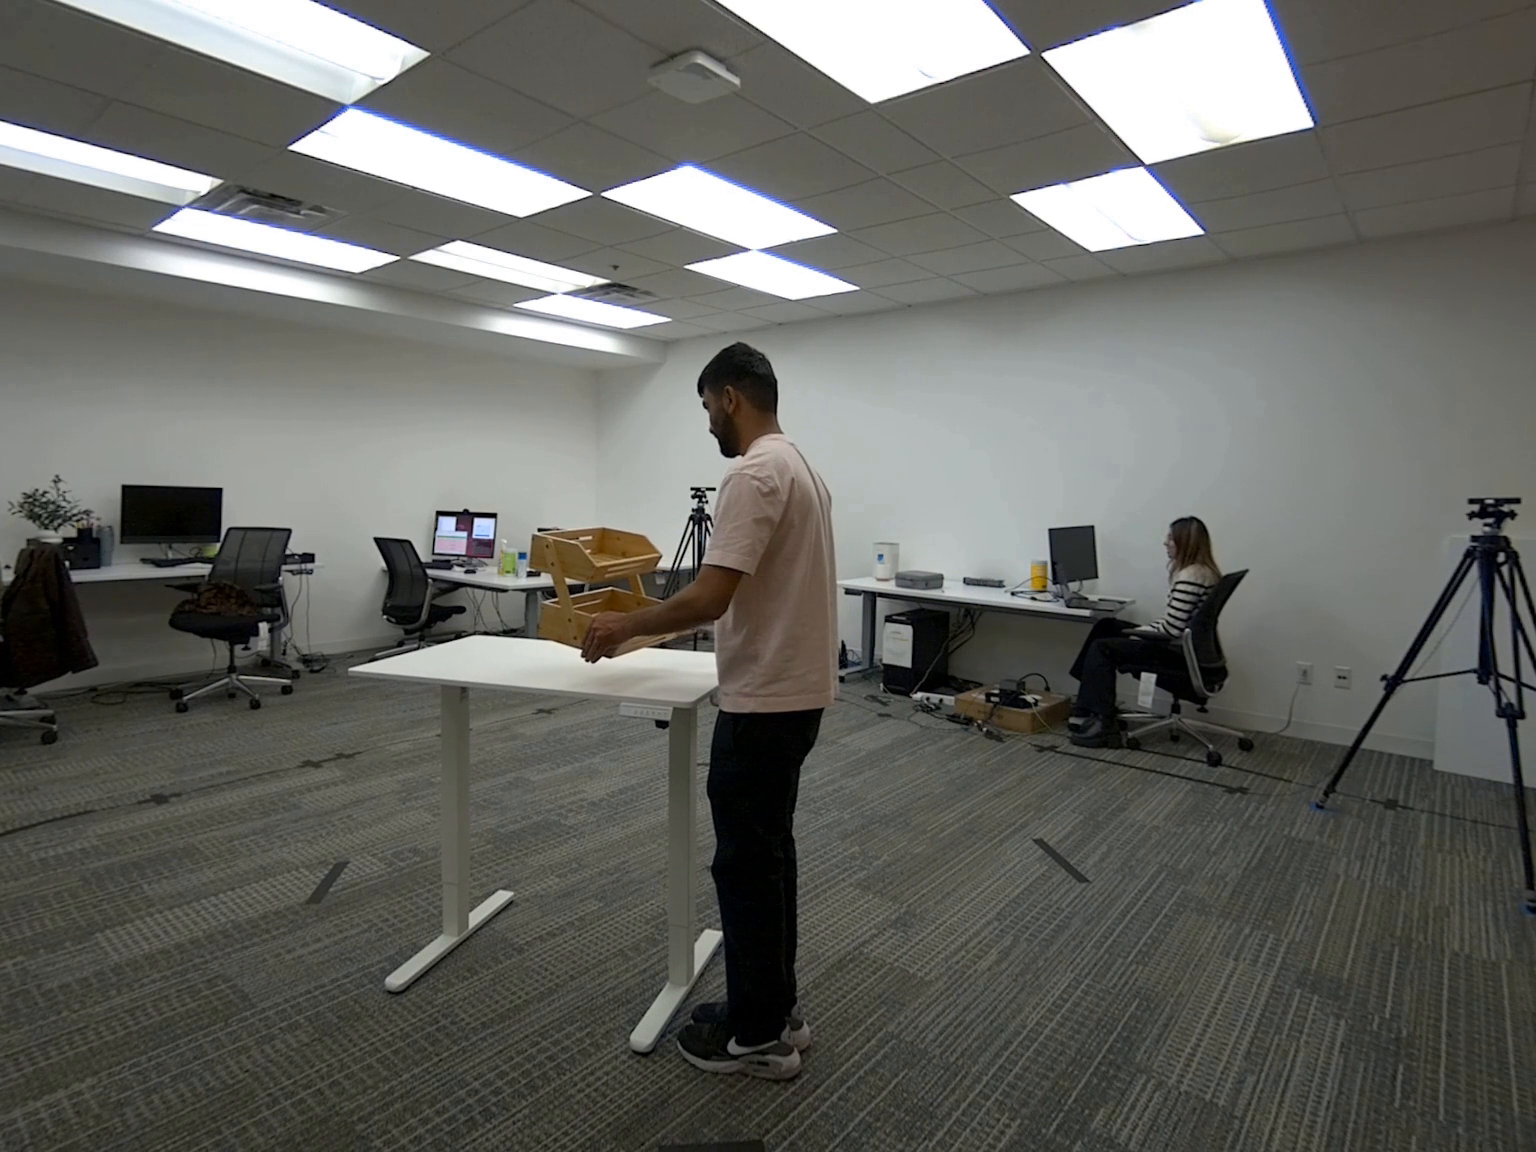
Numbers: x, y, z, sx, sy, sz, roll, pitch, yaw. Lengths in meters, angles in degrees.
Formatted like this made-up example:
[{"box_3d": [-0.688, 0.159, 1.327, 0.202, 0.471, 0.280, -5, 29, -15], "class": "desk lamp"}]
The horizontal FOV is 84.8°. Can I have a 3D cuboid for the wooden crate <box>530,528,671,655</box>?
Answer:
[{"box_3d": [-0.418, 0.028, 2.228, 0.311, 0.271, 0.317, 12, 10, 25], "class": "wooden crate"}]
